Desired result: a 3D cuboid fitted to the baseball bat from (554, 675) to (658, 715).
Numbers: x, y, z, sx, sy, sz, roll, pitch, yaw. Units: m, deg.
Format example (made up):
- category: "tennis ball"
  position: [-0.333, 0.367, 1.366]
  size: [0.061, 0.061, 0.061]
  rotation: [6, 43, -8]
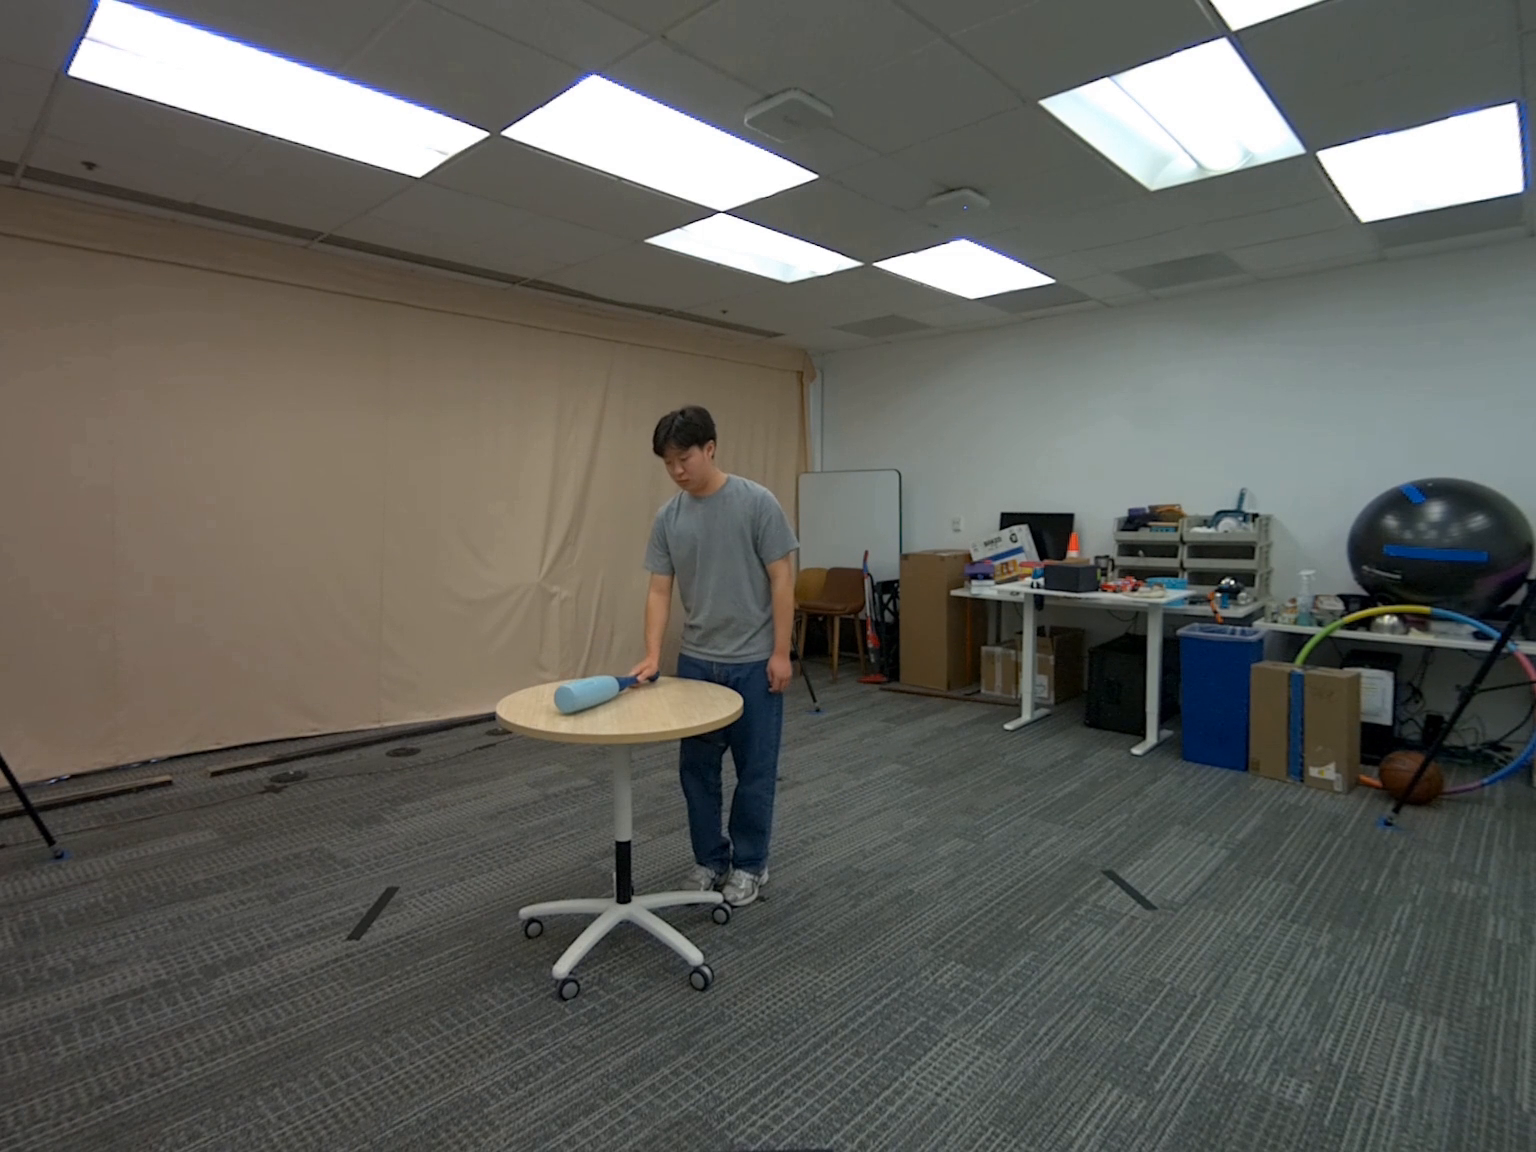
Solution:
- category: "baseball bat"
  position: [-0.493, 0.353, 2.689]
  size: [0.091, 0.089, 0.530]
  rotation: [2, 1, 21]
